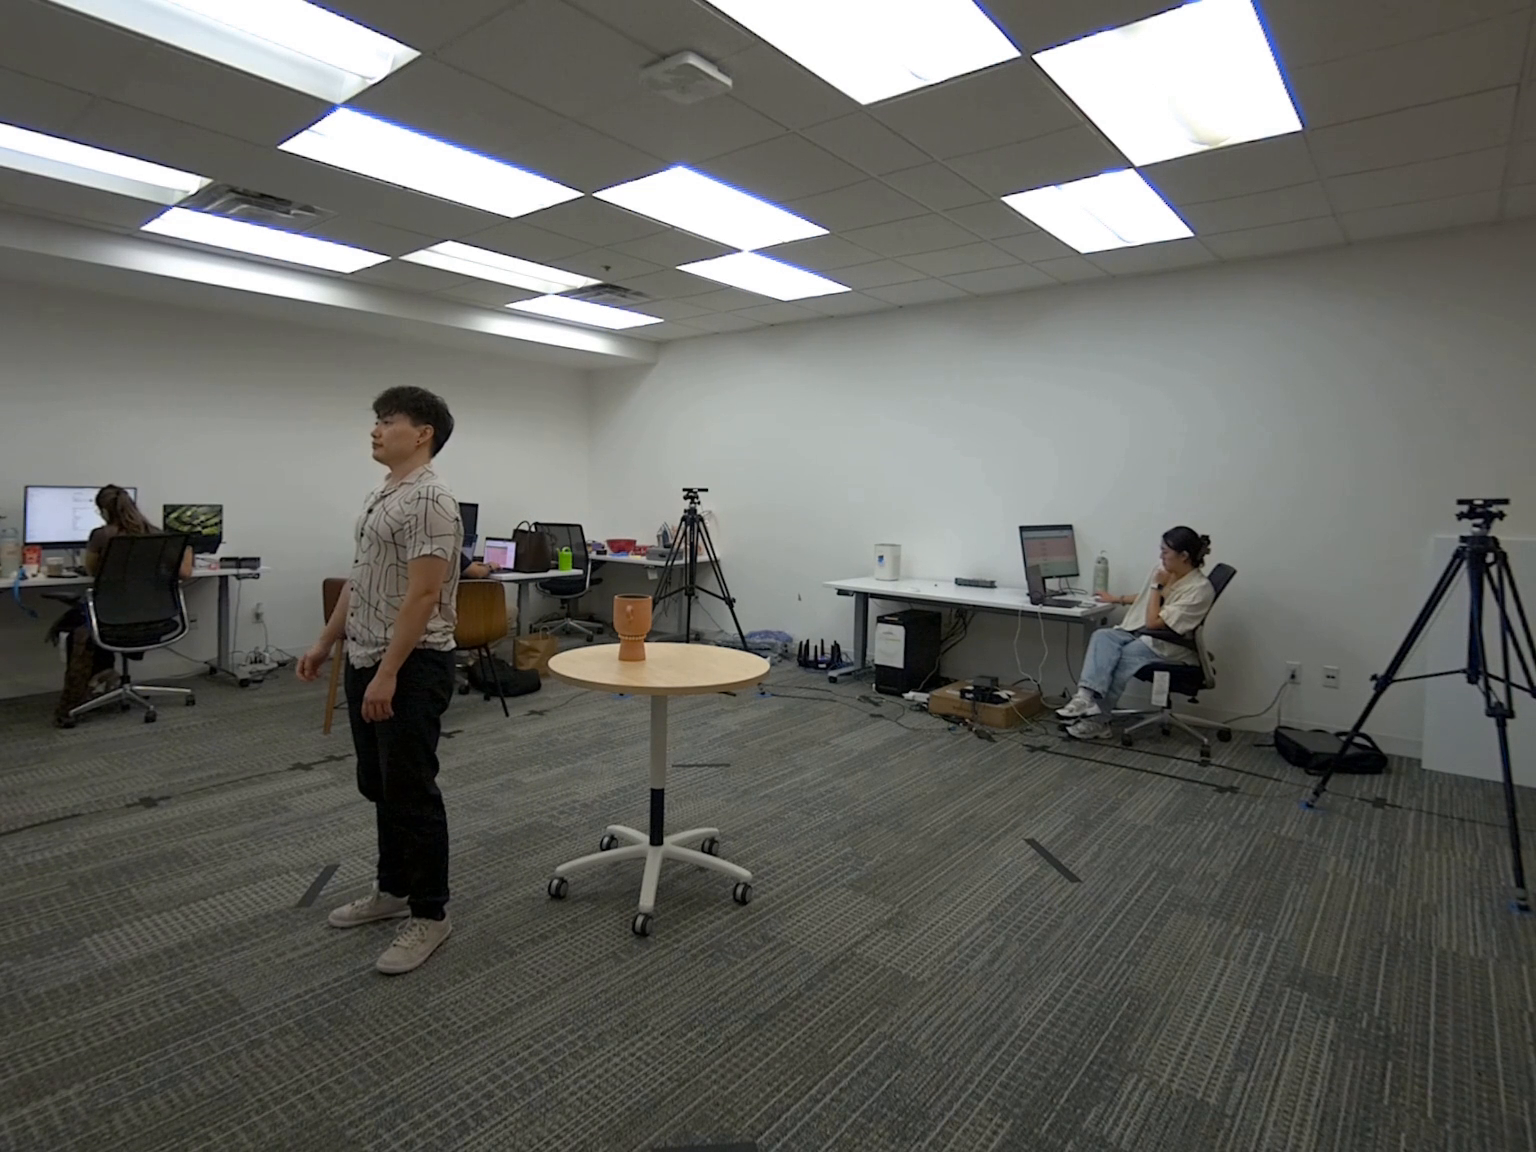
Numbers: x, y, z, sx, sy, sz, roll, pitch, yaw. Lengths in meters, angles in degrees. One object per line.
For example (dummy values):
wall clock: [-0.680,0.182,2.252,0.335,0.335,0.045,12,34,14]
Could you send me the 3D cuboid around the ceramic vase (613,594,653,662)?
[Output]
ceramic vase: [-0.490,0.180,2.999,0.139,0.219,0.154,3,4,39]
